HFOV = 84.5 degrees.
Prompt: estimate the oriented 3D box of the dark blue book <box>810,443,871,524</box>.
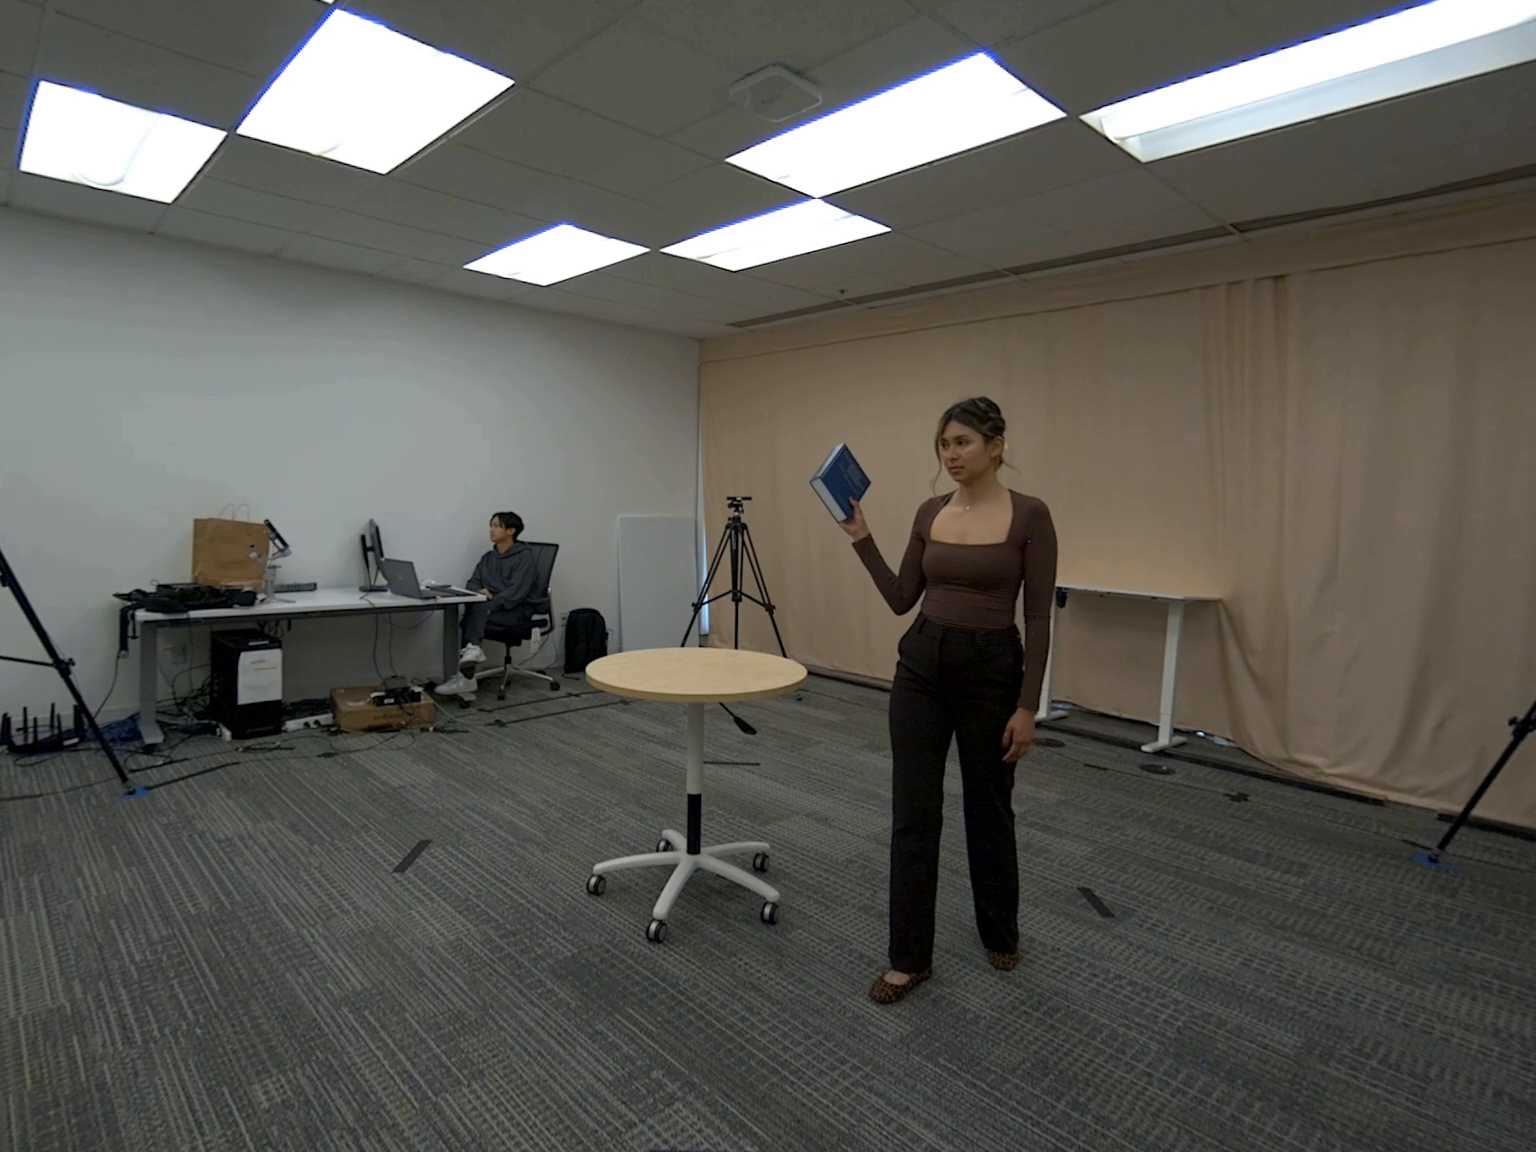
[{"bbox_3d":[0.225,-0.297,2.647,0.045,0.161,0.246,-28,18,37],"label":"dark blue book"}]
